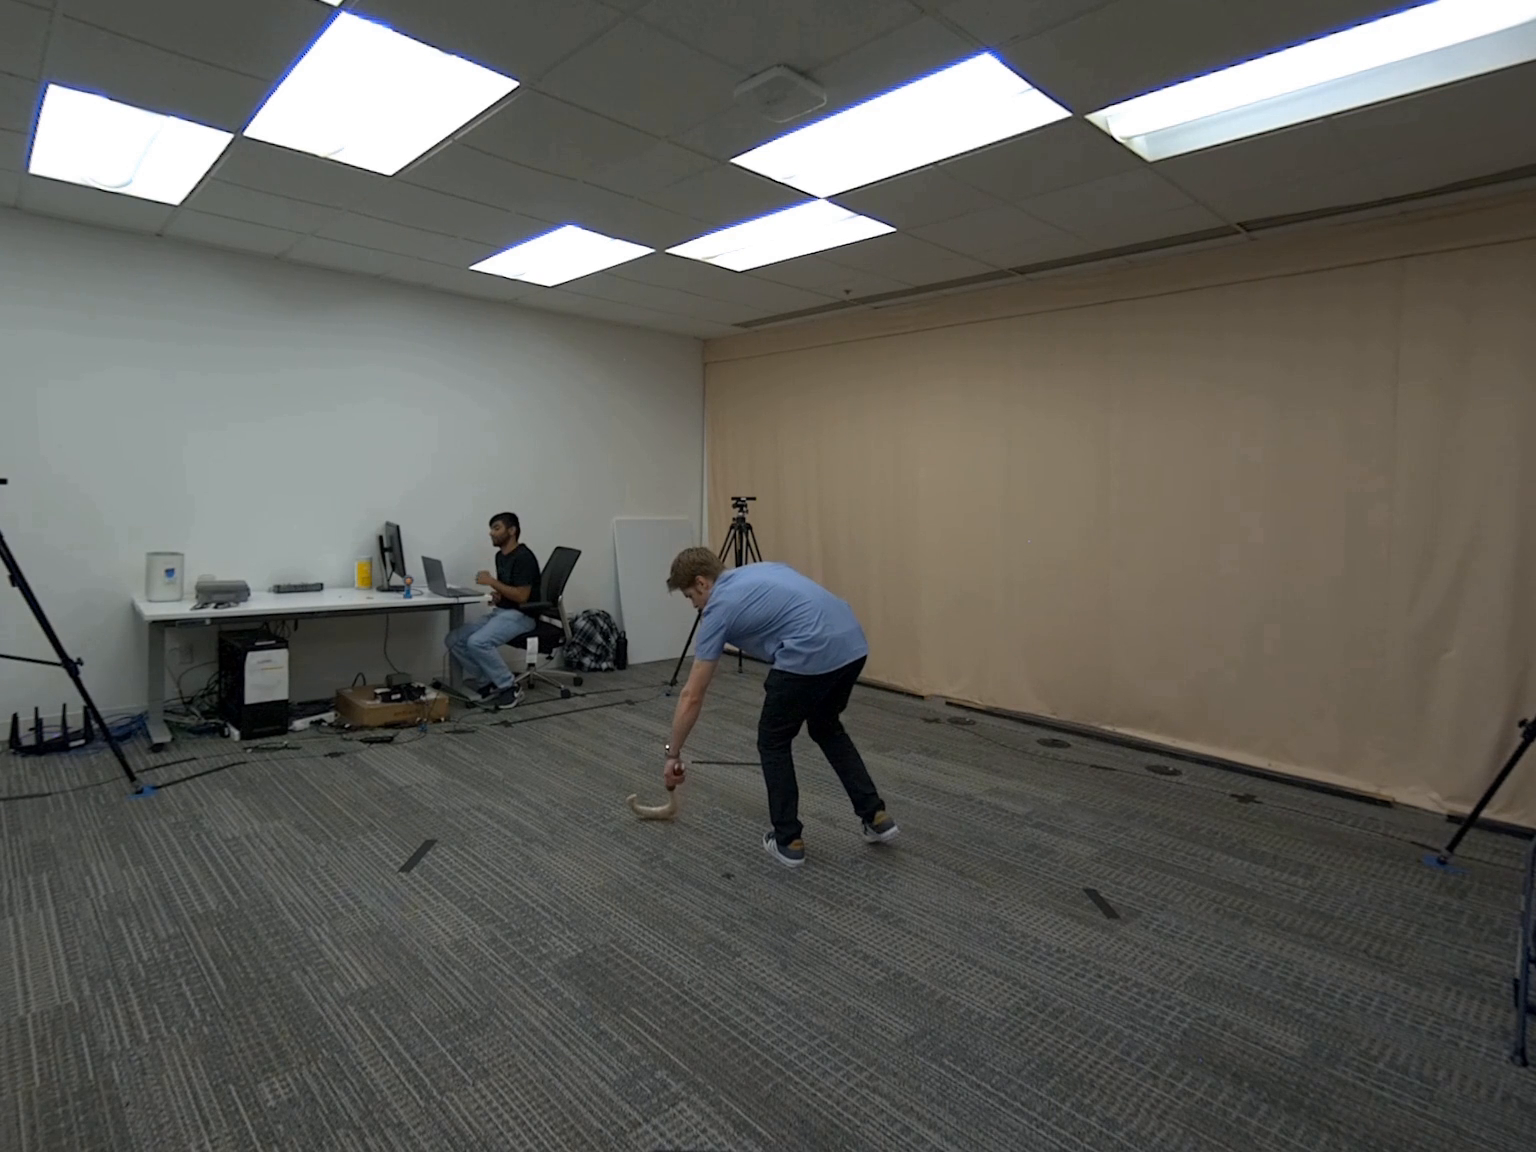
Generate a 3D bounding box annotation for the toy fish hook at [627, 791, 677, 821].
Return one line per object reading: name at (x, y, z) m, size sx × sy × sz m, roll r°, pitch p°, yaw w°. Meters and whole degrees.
toy fish hook at (-0.456, 0.885, 3.471) m, size 0.222 × 0.049 × 0.500 m, roll 8°, pitch -40°, yaw -12°
